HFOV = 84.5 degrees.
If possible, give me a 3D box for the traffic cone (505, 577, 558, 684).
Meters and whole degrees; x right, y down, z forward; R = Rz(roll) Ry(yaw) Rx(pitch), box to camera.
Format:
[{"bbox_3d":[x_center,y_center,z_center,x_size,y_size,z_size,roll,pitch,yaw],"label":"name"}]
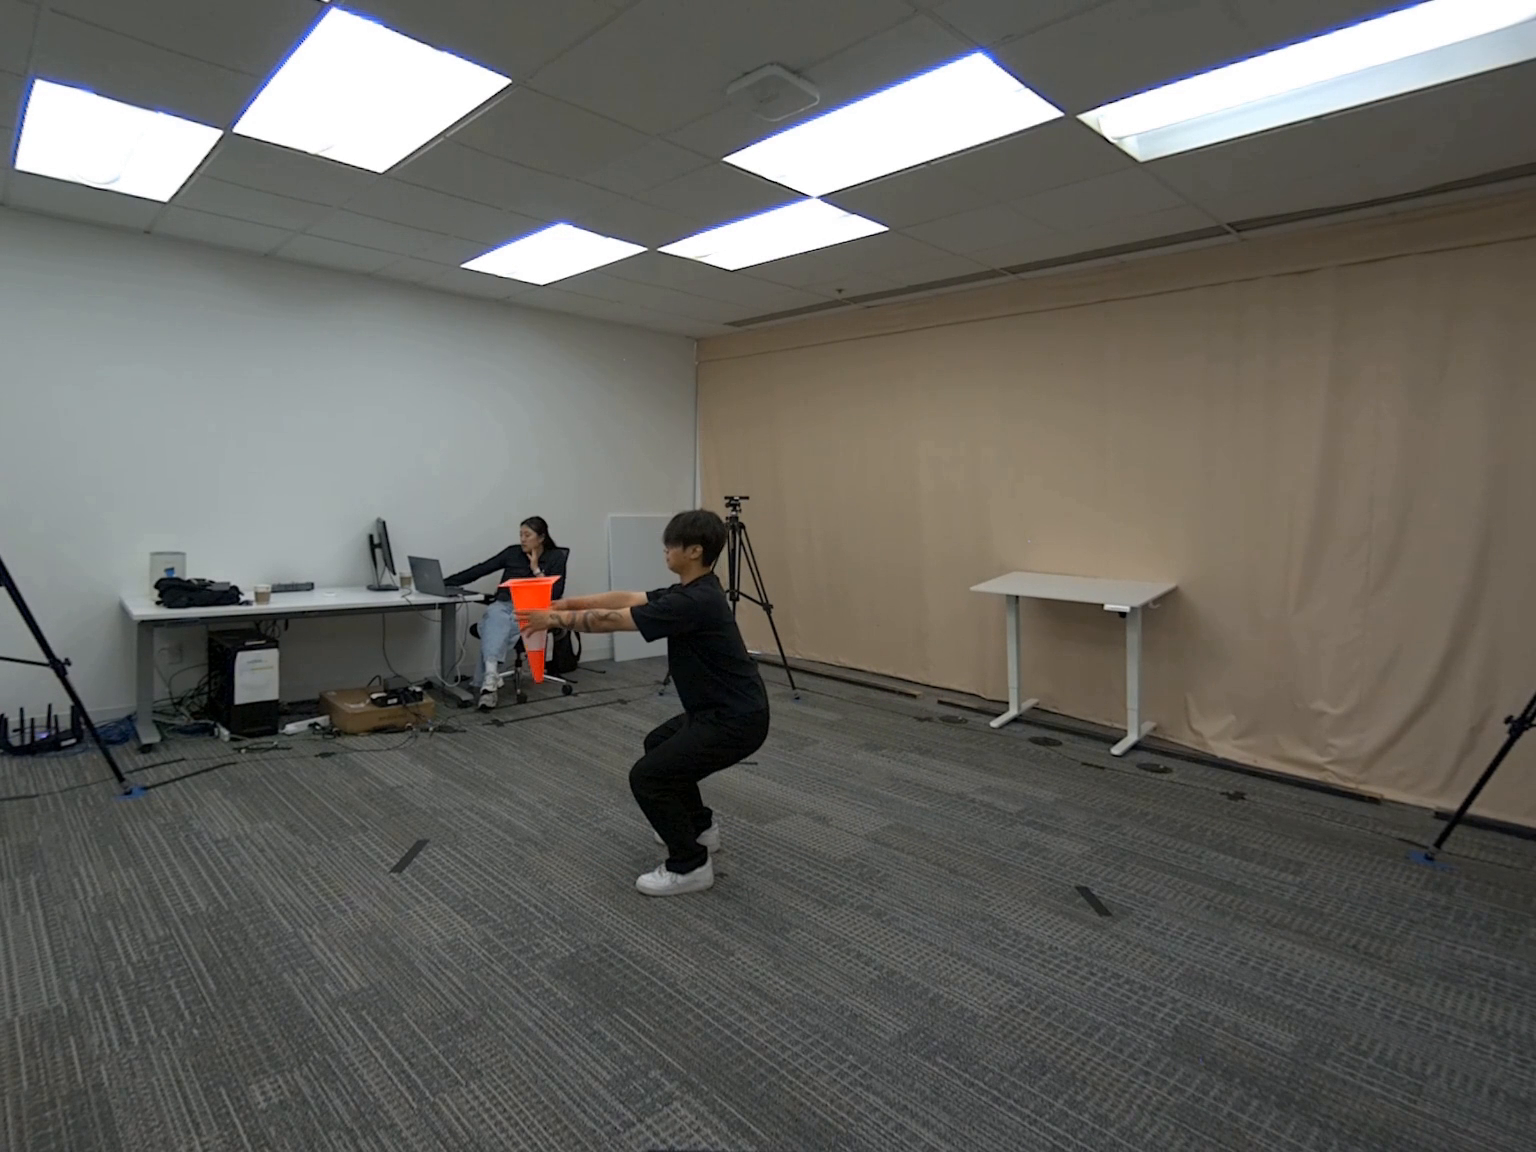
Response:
[{"bbox_3d":[-0.885,0.207,3.164,0.203,0.381,0.206,-3,7,-3],"label":"traffic cone"}]
